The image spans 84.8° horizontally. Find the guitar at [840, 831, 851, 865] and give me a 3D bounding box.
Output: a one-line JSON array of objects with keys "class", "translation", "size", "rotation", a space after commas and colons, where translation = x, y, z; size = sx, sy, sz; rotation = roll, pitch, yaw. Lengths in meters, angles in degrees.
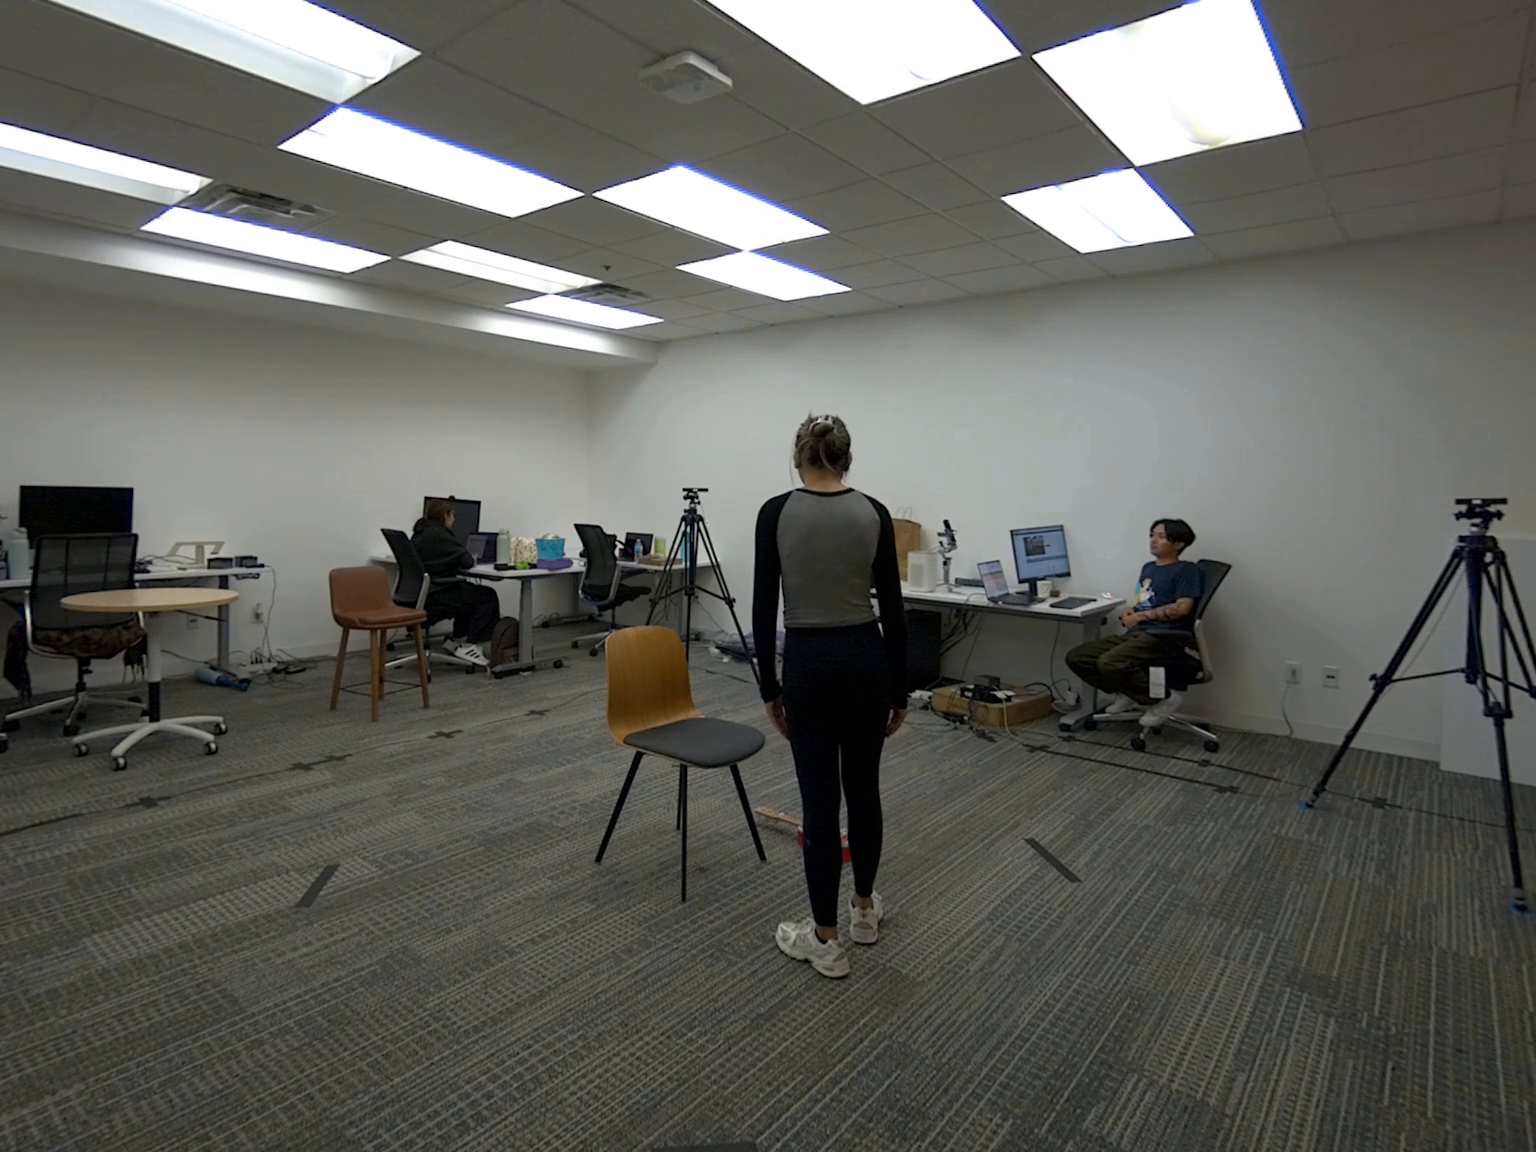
[{"class": "guitar", "translation": [0.163, 1.007, 3.409], "size": [0.187, 0.070, 0.515], "rotation": [-4, 8, -44]}]
